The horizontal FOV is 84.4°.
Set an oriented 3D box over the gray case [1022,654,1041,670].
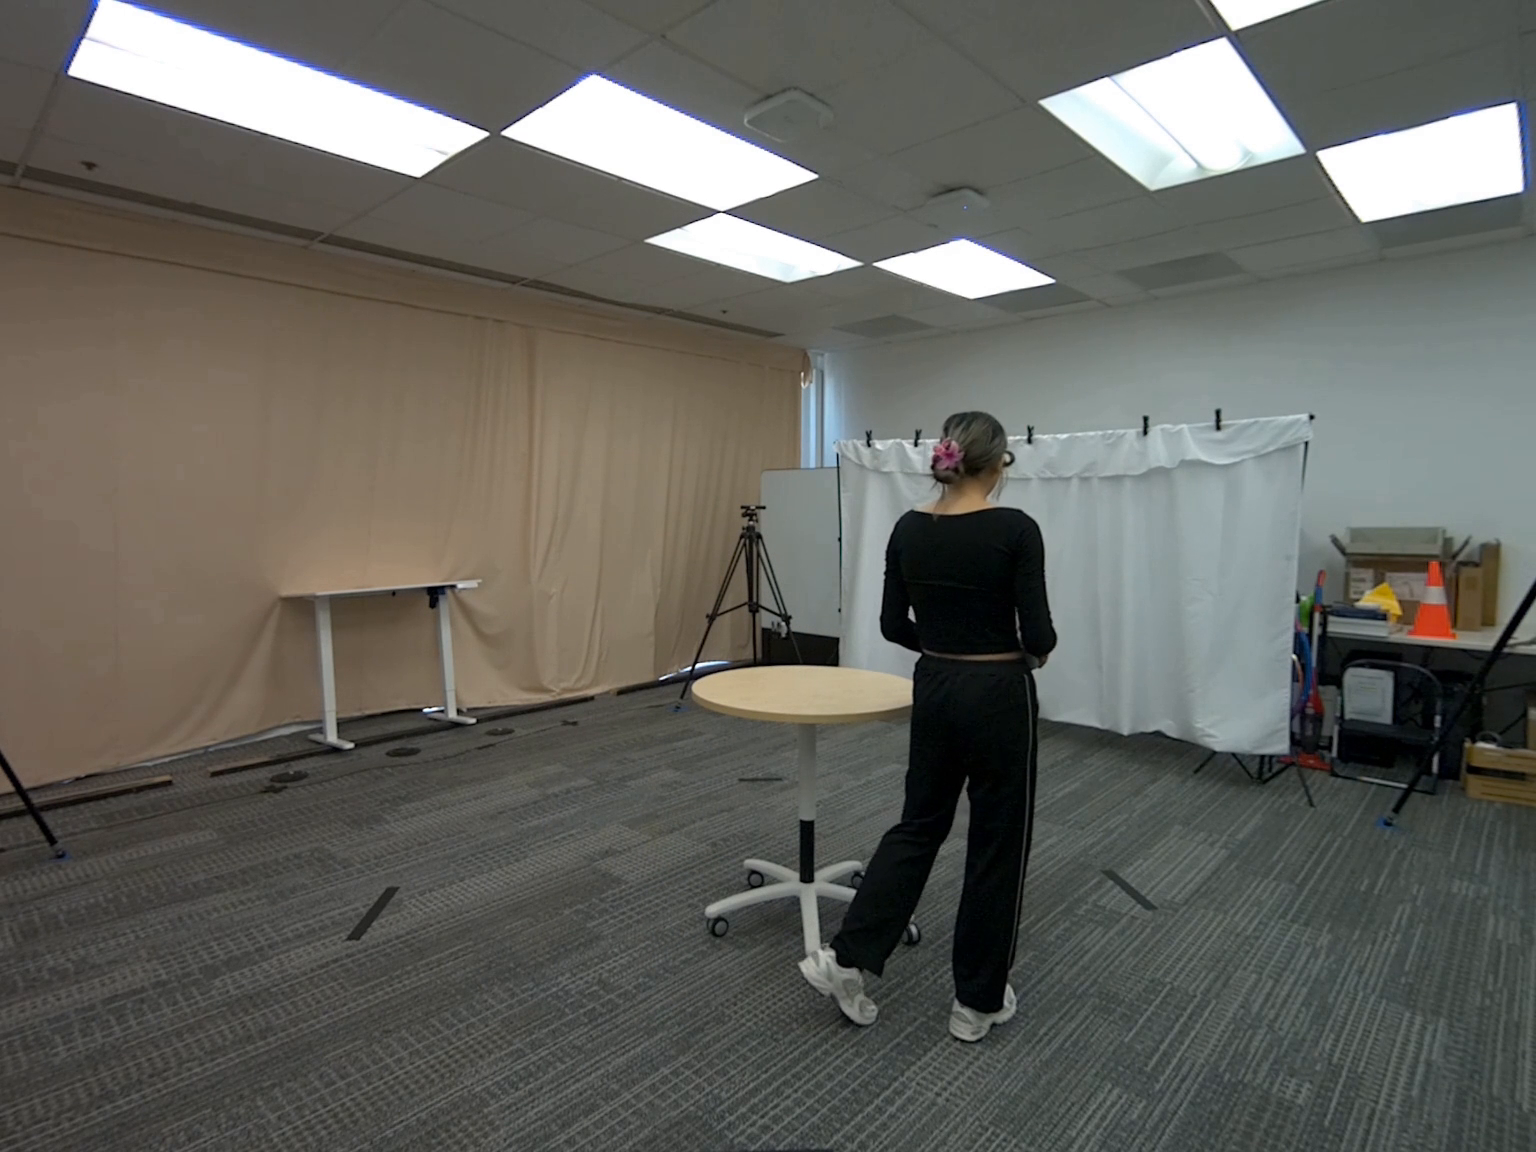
[{"bbox_3d":[0.624,0.205,2.464,0.264,0.104,0.255,-3,8,28],"label":"gray case"}]
